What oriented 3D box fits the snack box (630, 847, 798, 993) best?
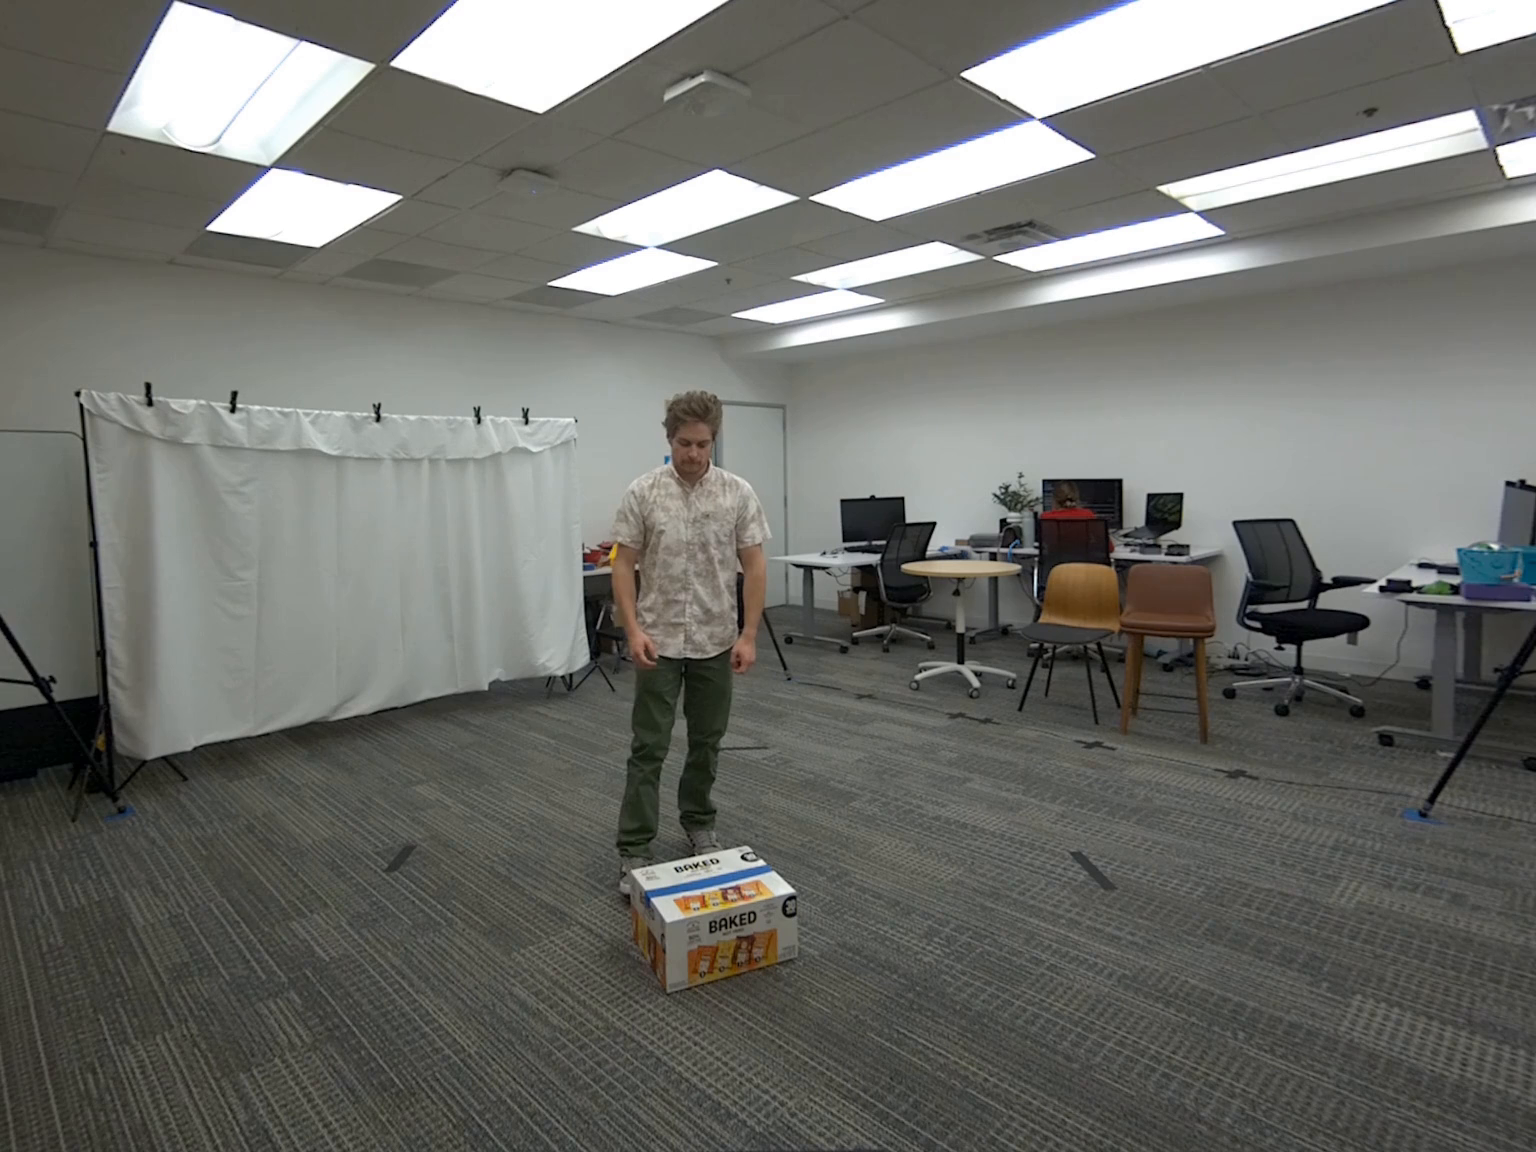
[{"bbox_3d":[-0.163,1.006,2.551,0.397,0.205,0.349,-4,7,-25],"label":"snack box"}]
